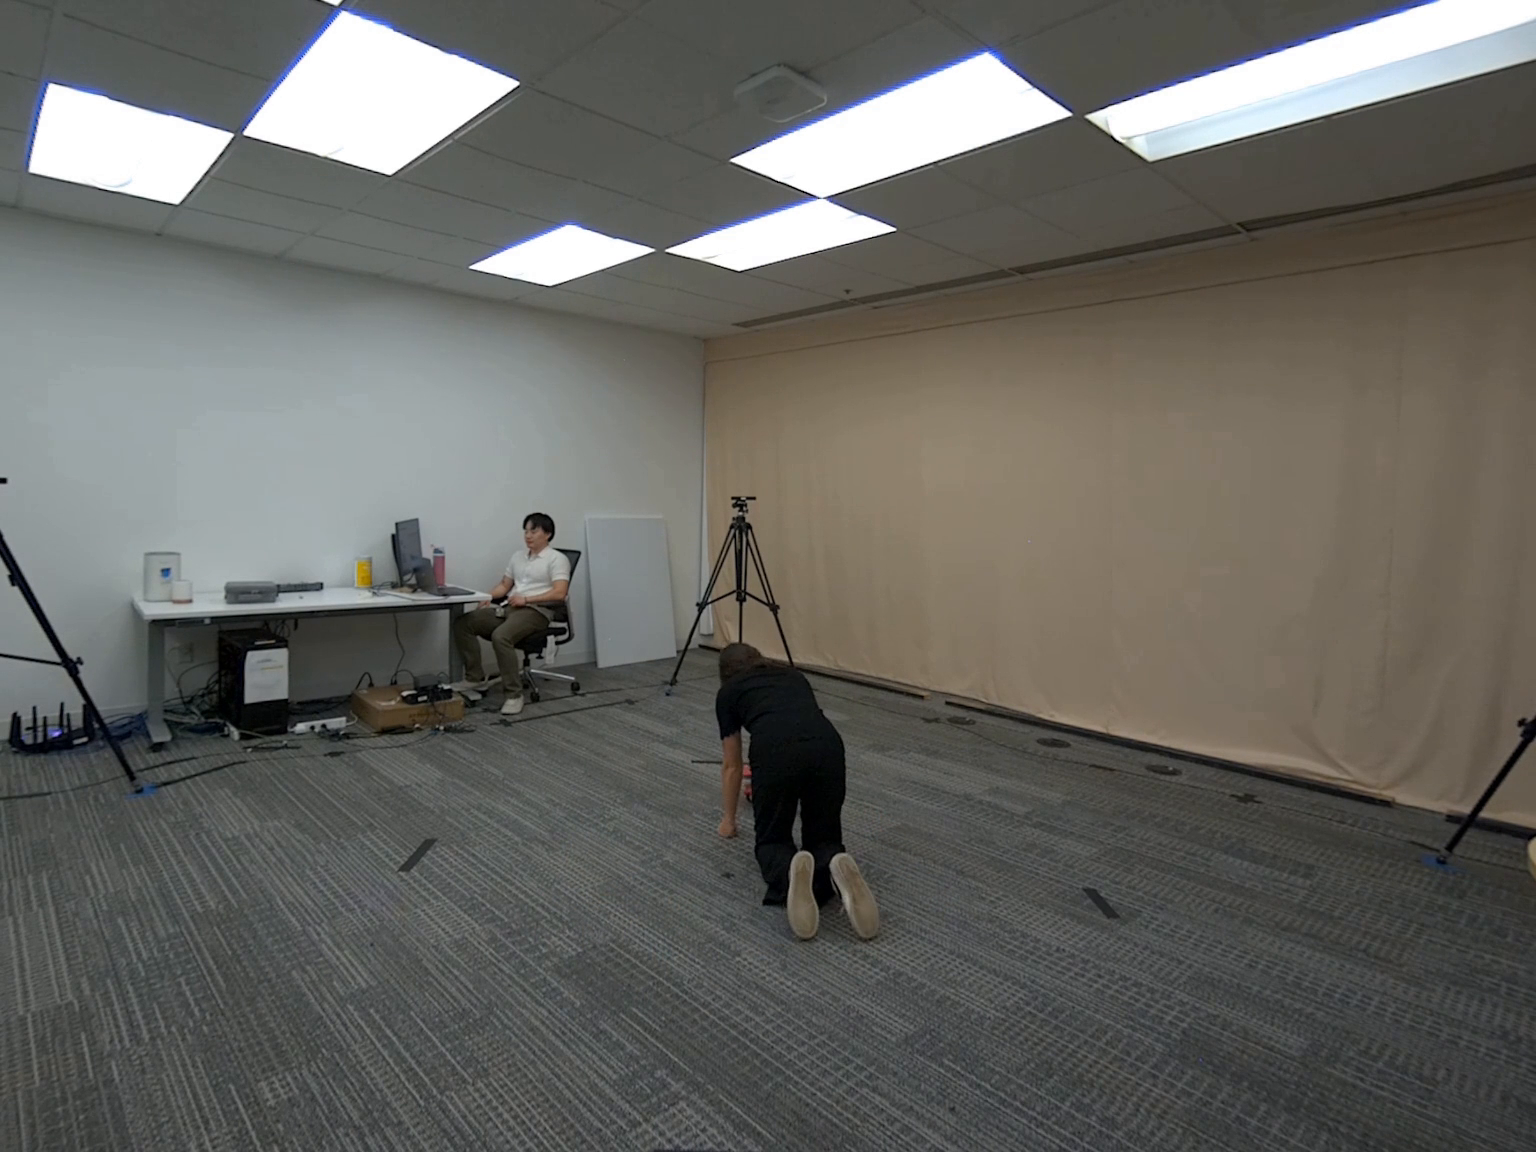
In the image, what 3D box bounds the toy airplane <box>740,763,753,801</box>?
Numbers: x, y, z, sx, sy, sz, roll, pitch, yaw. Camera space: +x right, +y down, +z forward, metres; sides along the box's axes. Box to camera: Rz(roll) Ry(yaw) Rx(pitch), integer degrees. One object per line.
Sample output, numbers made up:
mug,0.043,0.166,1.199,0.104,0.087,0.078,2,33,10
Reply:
toy airplane,-0.008,0.941,3.897,0.259,0.158,0.249,-23,-8,-1
